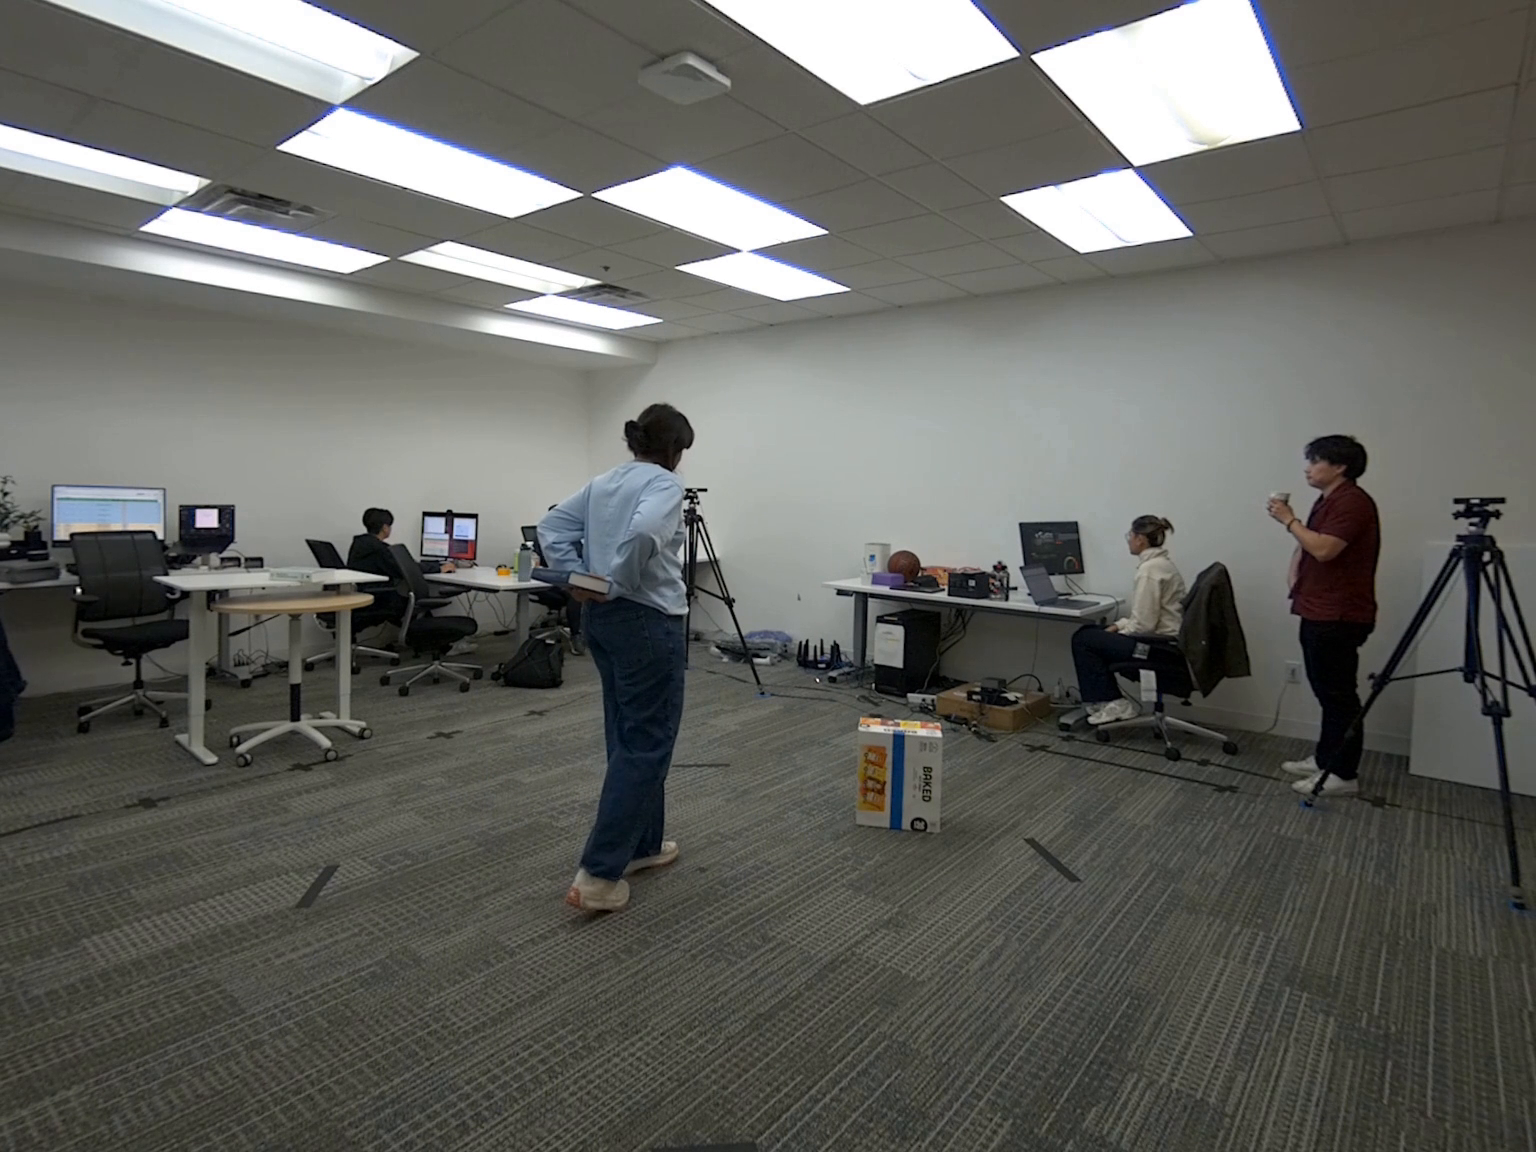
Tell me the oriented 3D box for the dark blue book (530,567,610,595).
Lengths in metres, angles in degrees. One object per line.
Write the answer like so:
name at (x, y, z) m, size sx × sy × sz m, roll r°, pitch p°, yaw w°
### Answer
dark blue book at (-0.665, 0.010, 2.796) m, size 0.157 × 0.045 × 0.253 m, roll 19°, pitch -10°, yaw -42°
